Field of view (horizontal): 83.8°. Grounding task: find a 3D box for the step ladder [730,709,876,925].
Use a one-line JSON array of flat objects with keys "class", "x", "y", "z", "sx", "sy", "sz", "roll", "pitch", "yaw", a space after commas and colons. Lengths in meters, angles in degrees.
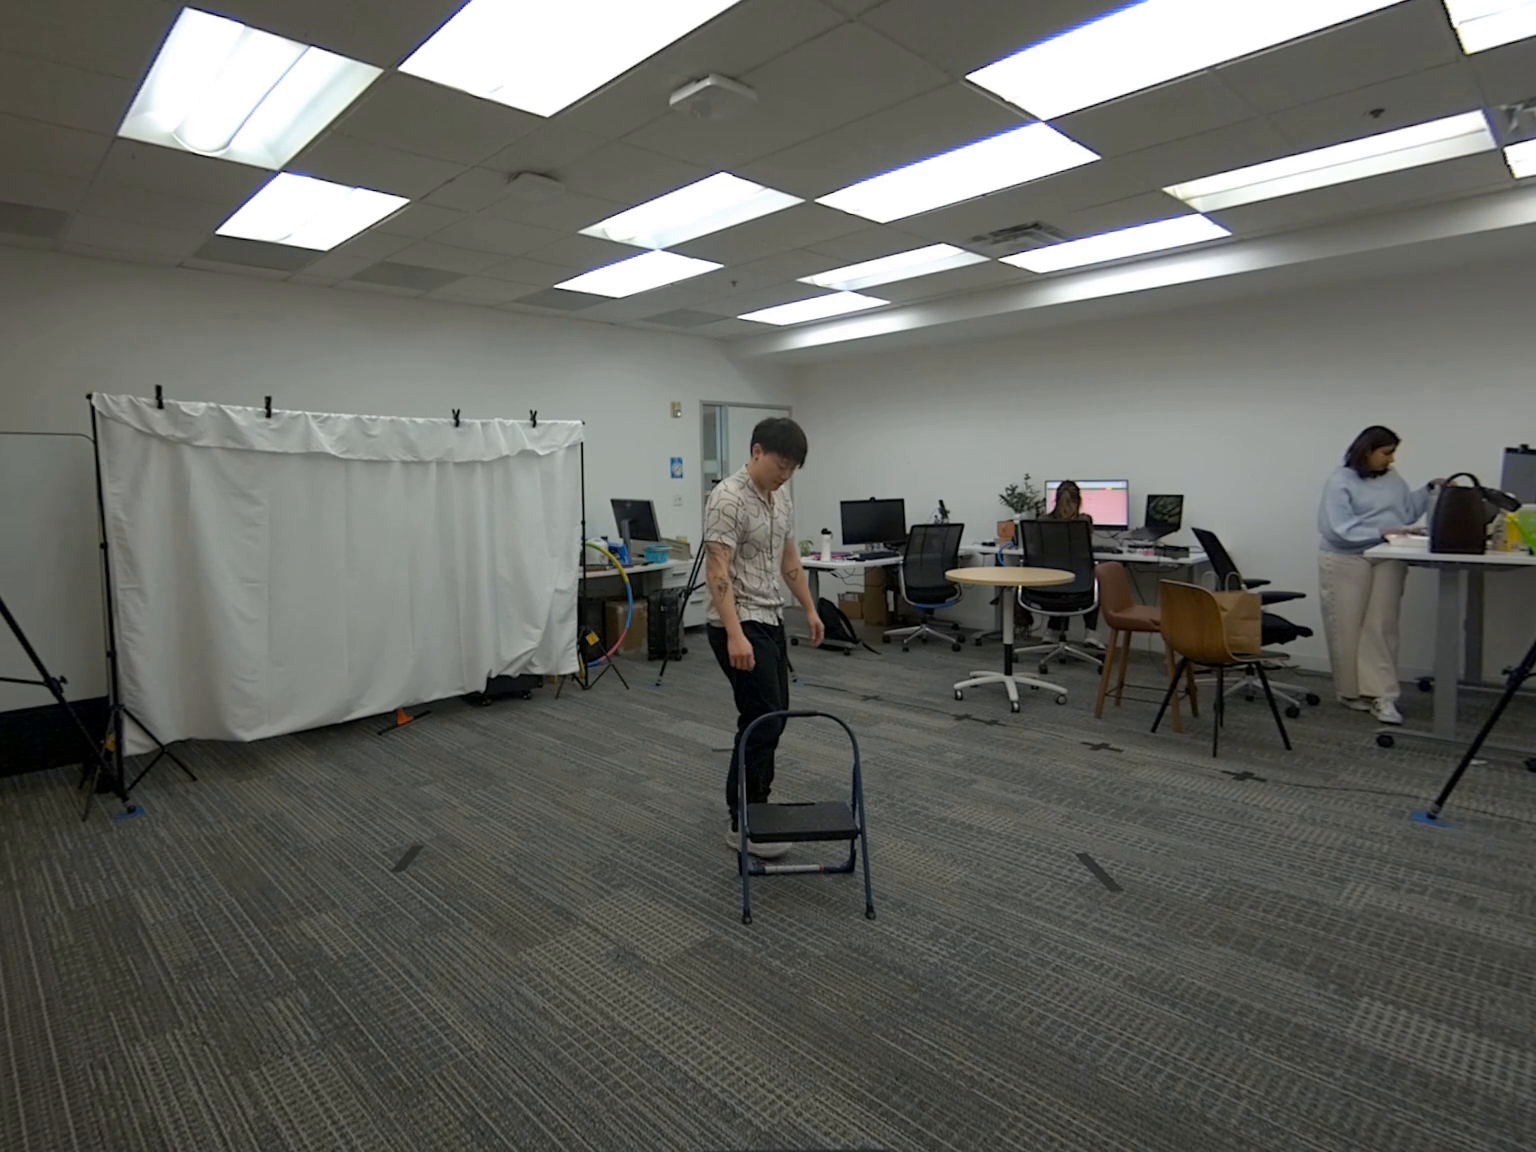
[{"class": "step ladder", "x": 0.118, "y": 0.779, "z": 2.854, "sx": 0.429, "sy": 0.603, "sz": 0.352, "roll": -1, "pitch": 5, "yaw": -5}]
